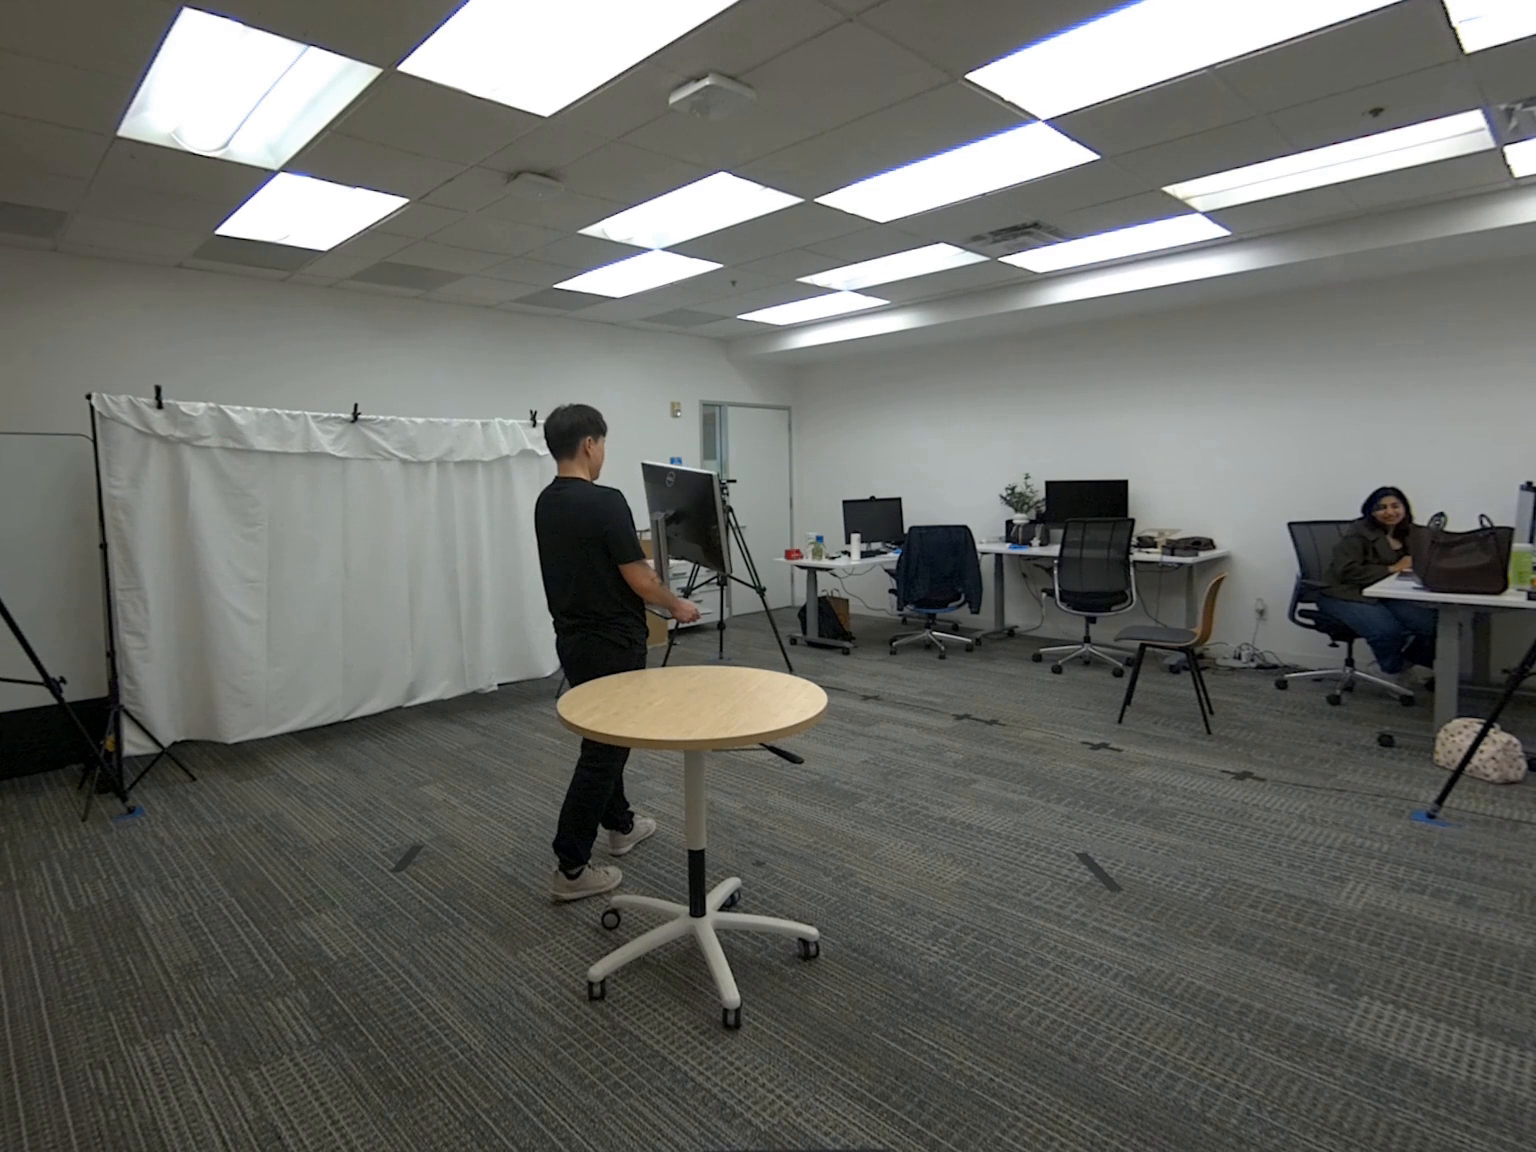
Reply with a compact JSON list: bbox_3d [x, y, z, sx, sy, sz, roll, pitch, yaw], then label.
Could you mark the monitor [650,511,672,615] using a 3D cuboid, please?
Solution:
[{"bbox_3d":[-0.336,-0.139,3.162,0.182,0.519,0.557,-2,10,-34],"label":"monitor"}]
